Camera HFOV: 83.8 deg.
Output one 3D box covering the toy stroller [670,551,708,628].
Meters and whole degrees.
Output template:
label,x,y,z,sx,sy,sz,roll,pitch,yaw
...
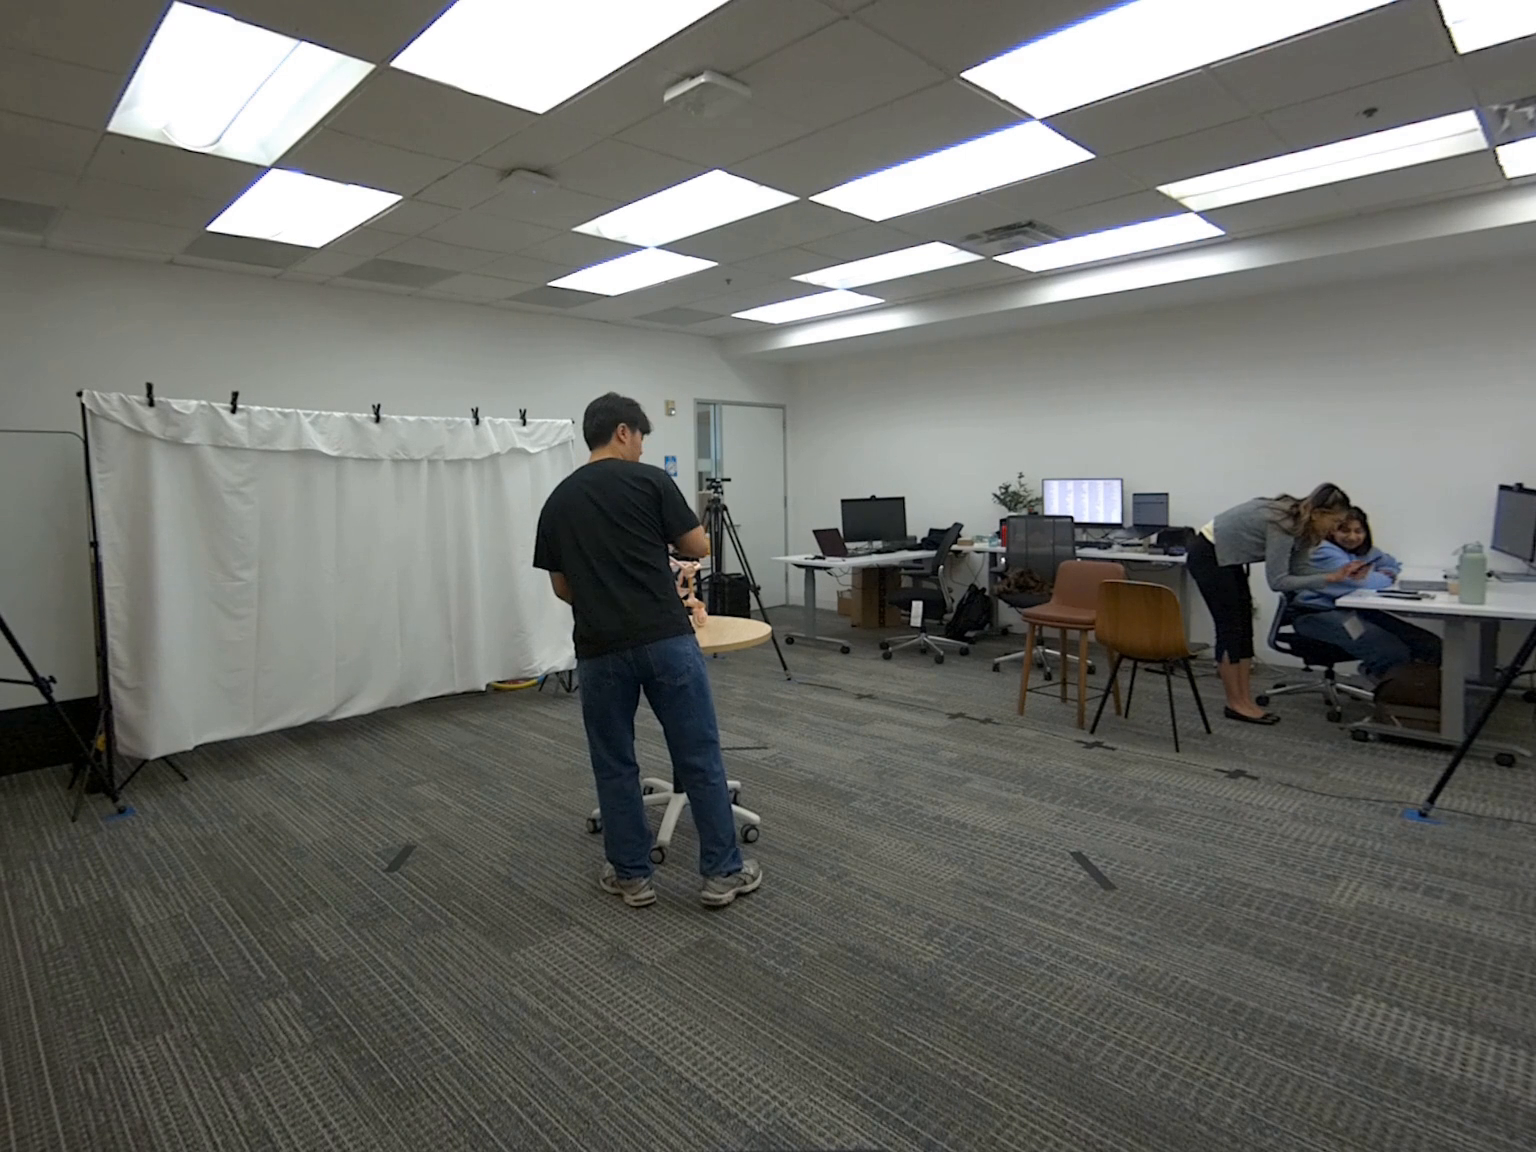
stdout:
label,x,y,z,sx,sy,sz,roll,pitch,yaw
toy stroller,-0.419,-0.003,3.368,0.336,0.528,0.289,-20,13,-31
